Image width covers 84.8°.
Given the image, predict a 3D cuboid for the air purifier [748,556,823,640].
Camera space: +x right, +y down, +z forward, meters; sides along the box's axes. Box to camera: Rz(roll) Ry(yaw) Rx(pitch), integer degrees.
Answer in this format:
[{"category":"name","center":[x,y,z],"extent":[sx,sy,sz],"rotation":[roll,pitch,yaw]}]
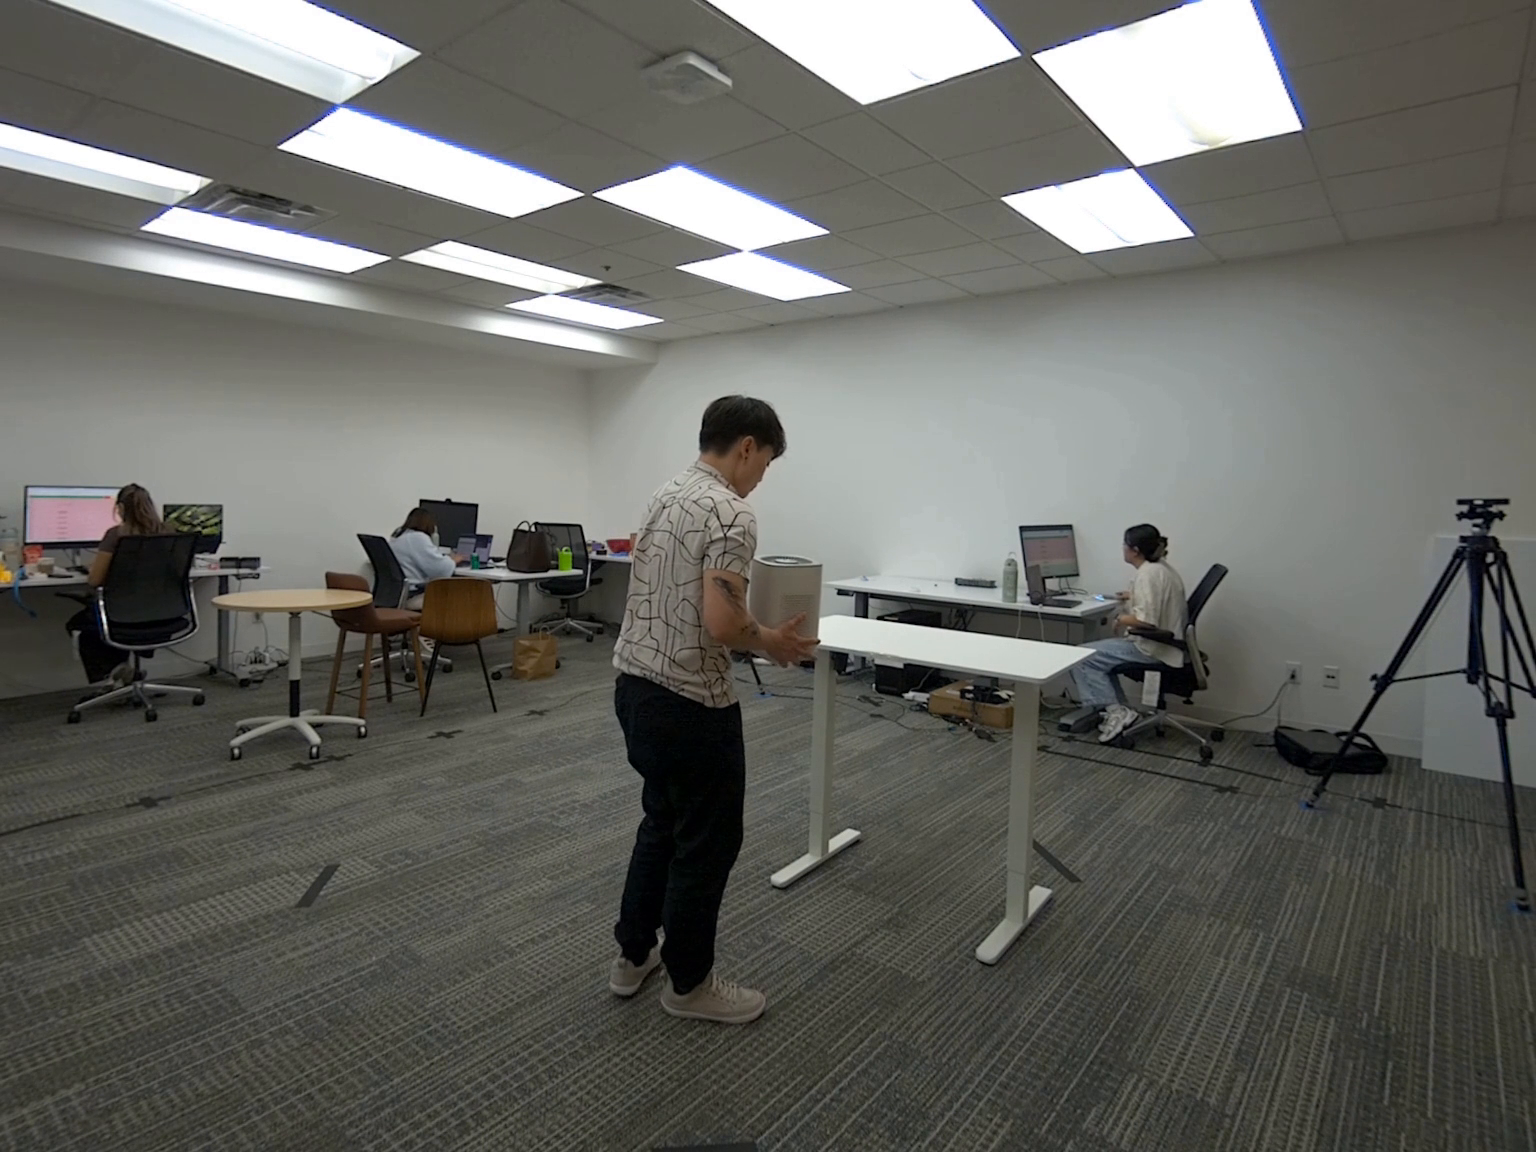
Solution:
[{"category":"air purifier","center":[0.038,0.090,2.296],"extent":[0.168,0.263,0.176],"rotation":[-1,9,-25]}]
